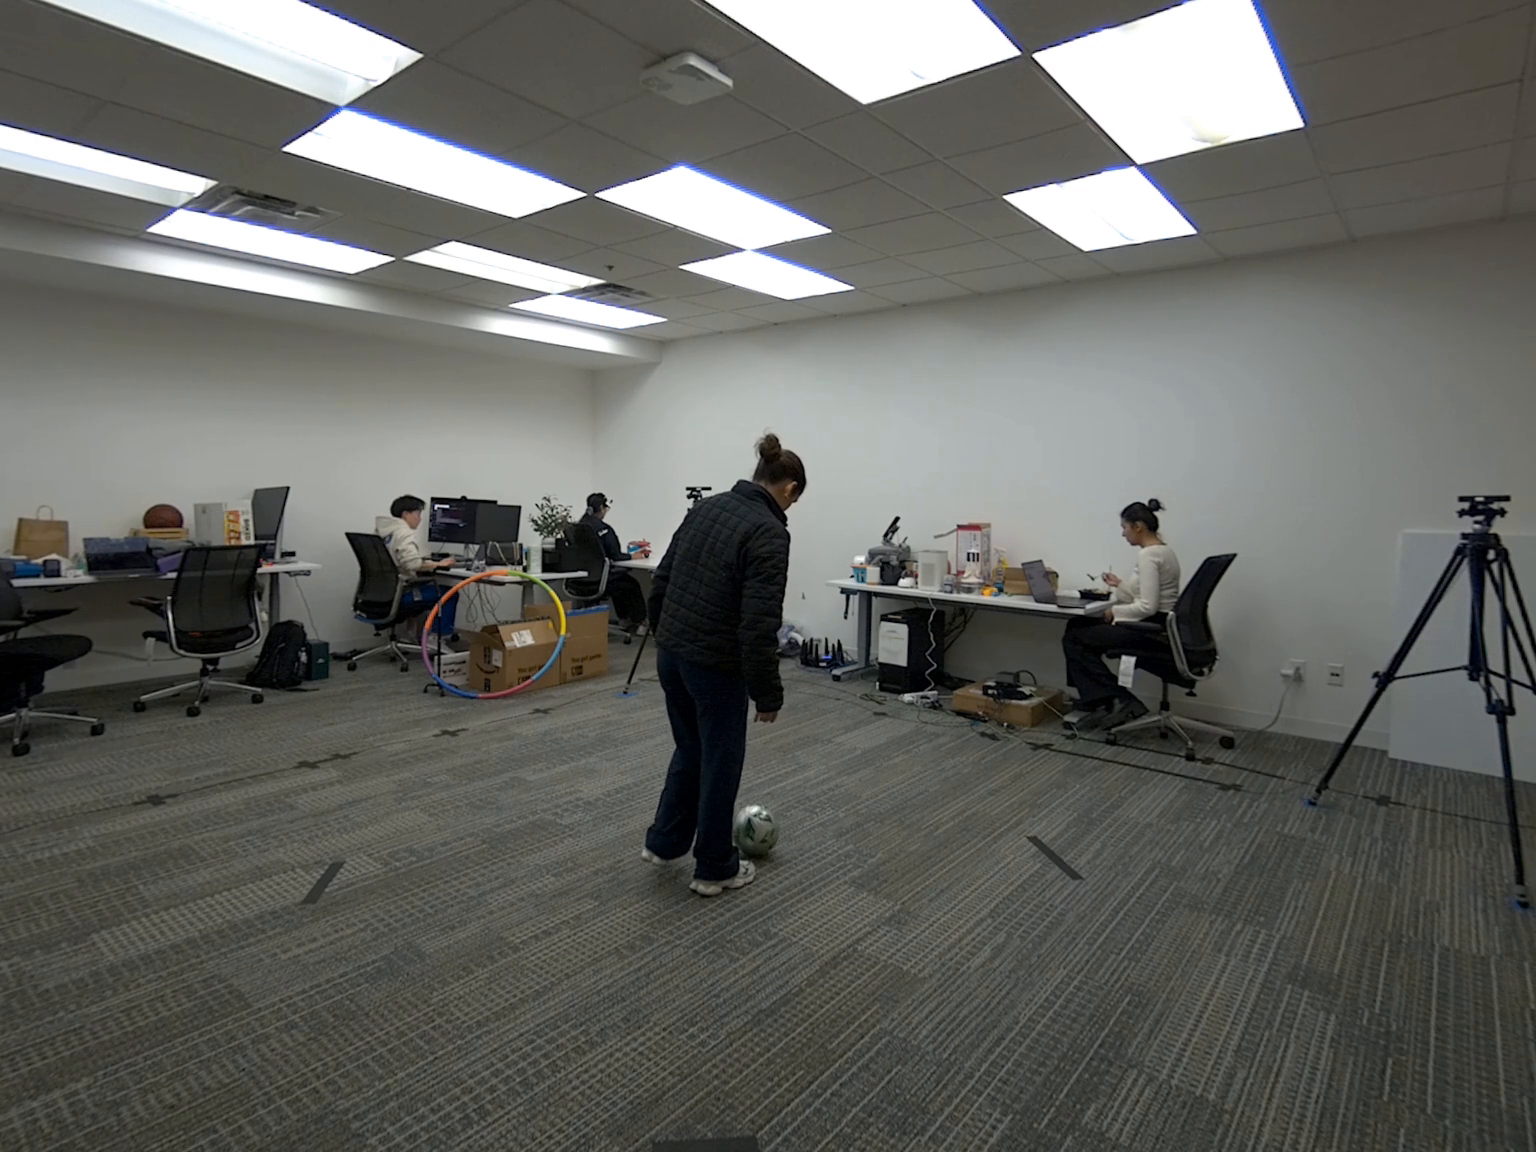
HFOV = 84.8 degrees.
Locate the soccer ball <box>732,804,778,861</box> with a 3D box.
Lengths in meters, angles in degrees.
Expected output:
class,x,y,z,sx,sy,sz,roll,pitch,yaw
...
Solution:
class,x,y,z,sx,sy,sz,roll,pitch,yaw
soccer ball,-0.061,0.961,3.236,0.187,0.187,0.188,1,4,-2
